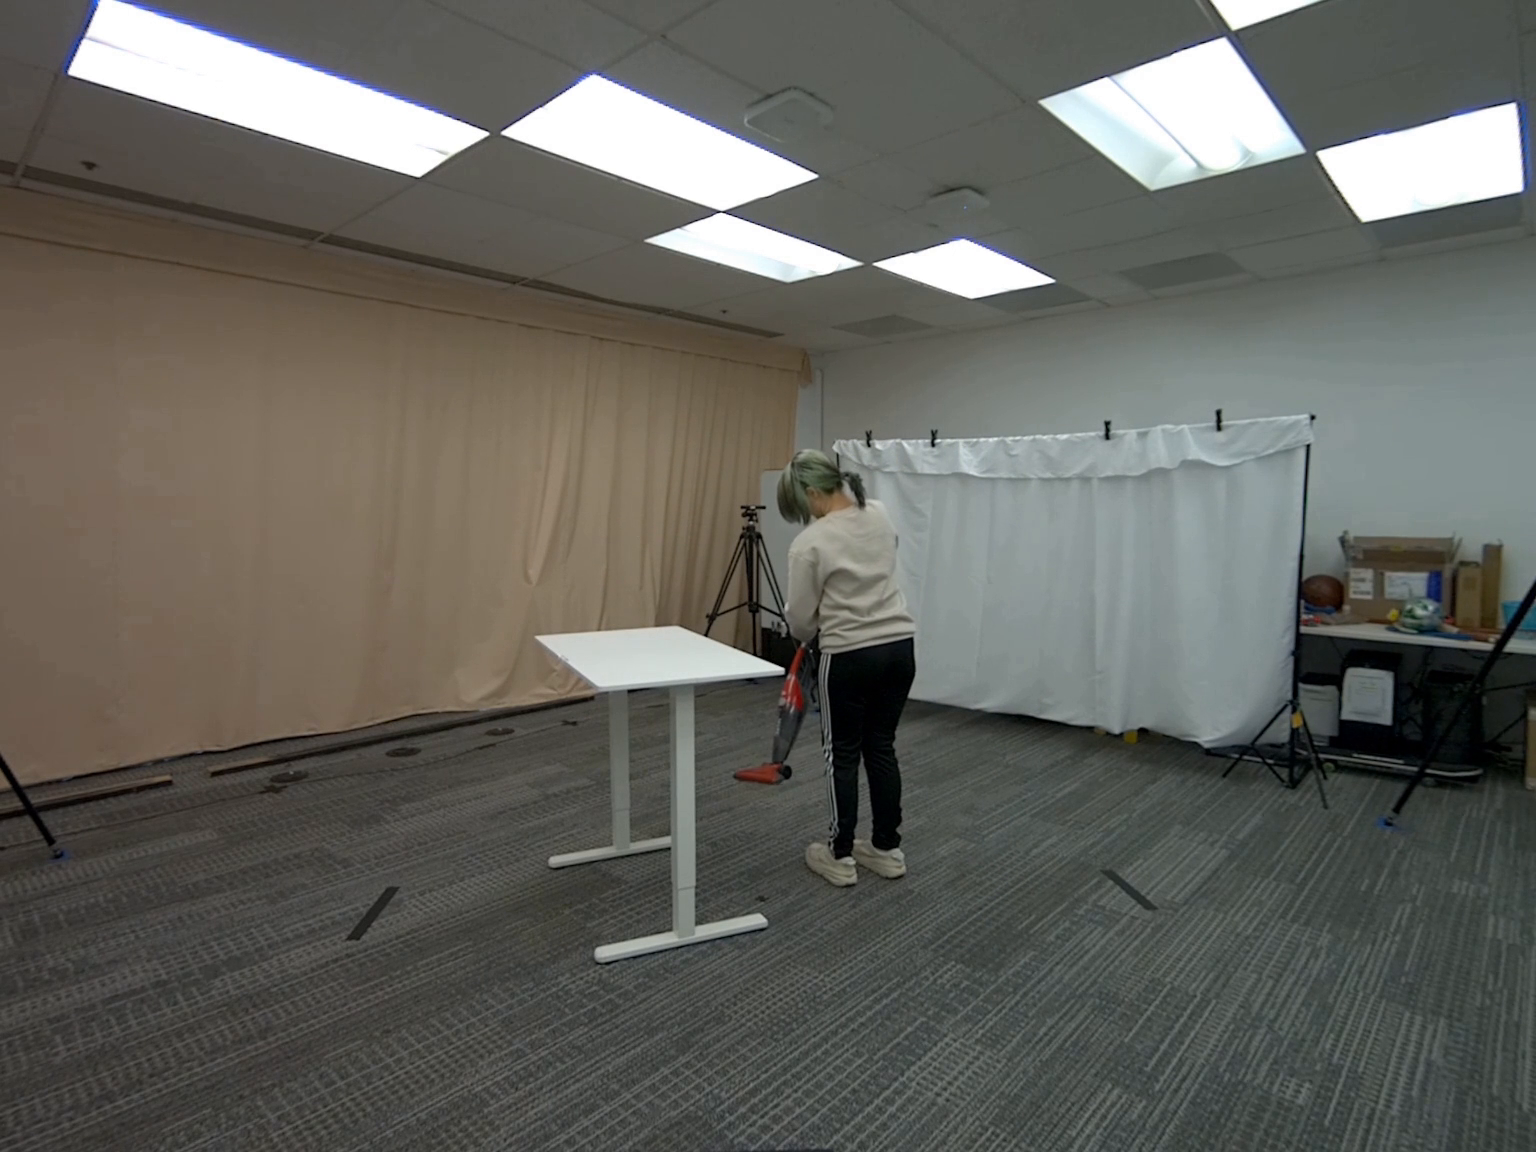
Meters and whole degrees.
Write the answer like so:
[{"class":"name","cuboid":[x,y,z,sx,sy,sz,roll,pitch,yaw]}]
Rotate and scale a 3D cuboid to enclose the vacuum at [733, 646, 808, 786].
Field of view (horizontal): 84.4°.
[{"class":"vacuum","cuboid":[0.168,0.313,3.400,0.139,1.054,0.260,36,-28,-32]}]
